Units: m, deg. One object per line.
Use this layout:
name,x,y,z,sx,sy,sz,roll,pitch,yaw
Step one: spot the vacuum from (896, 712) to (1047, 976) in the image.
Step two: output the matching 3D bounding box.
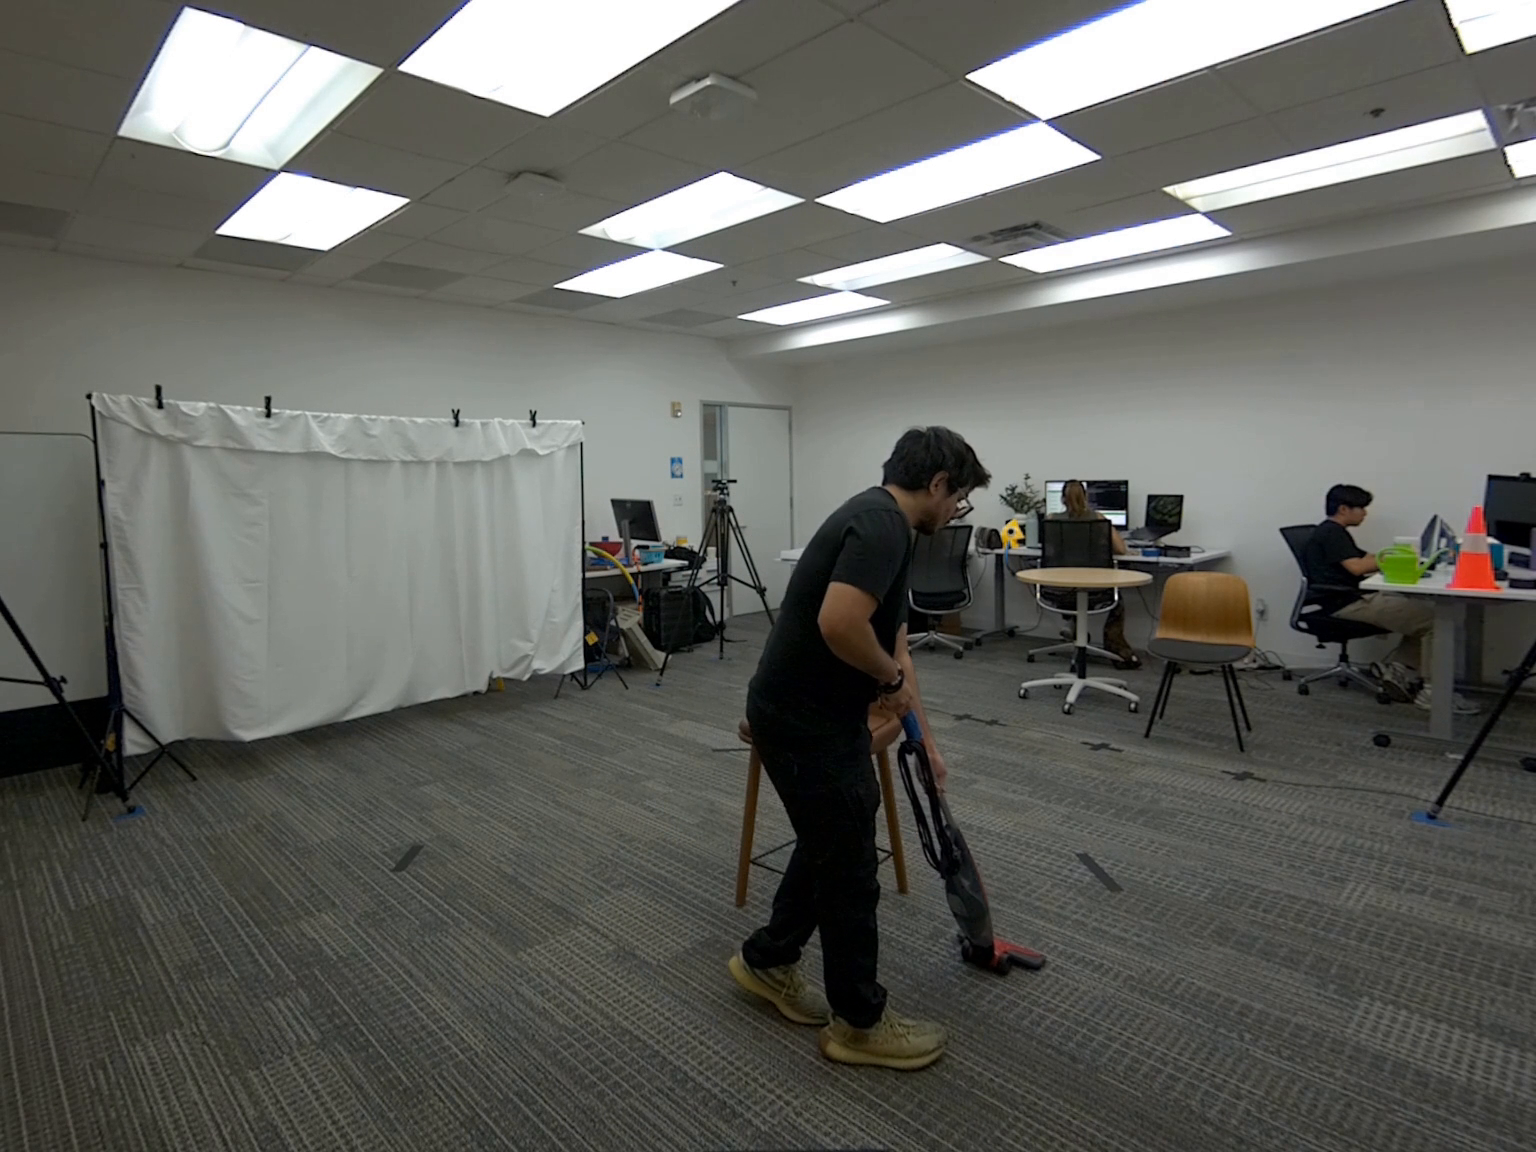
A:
vacuum,0.489,0.694,2.245,0.261,1.019,0.143,7,38,42
